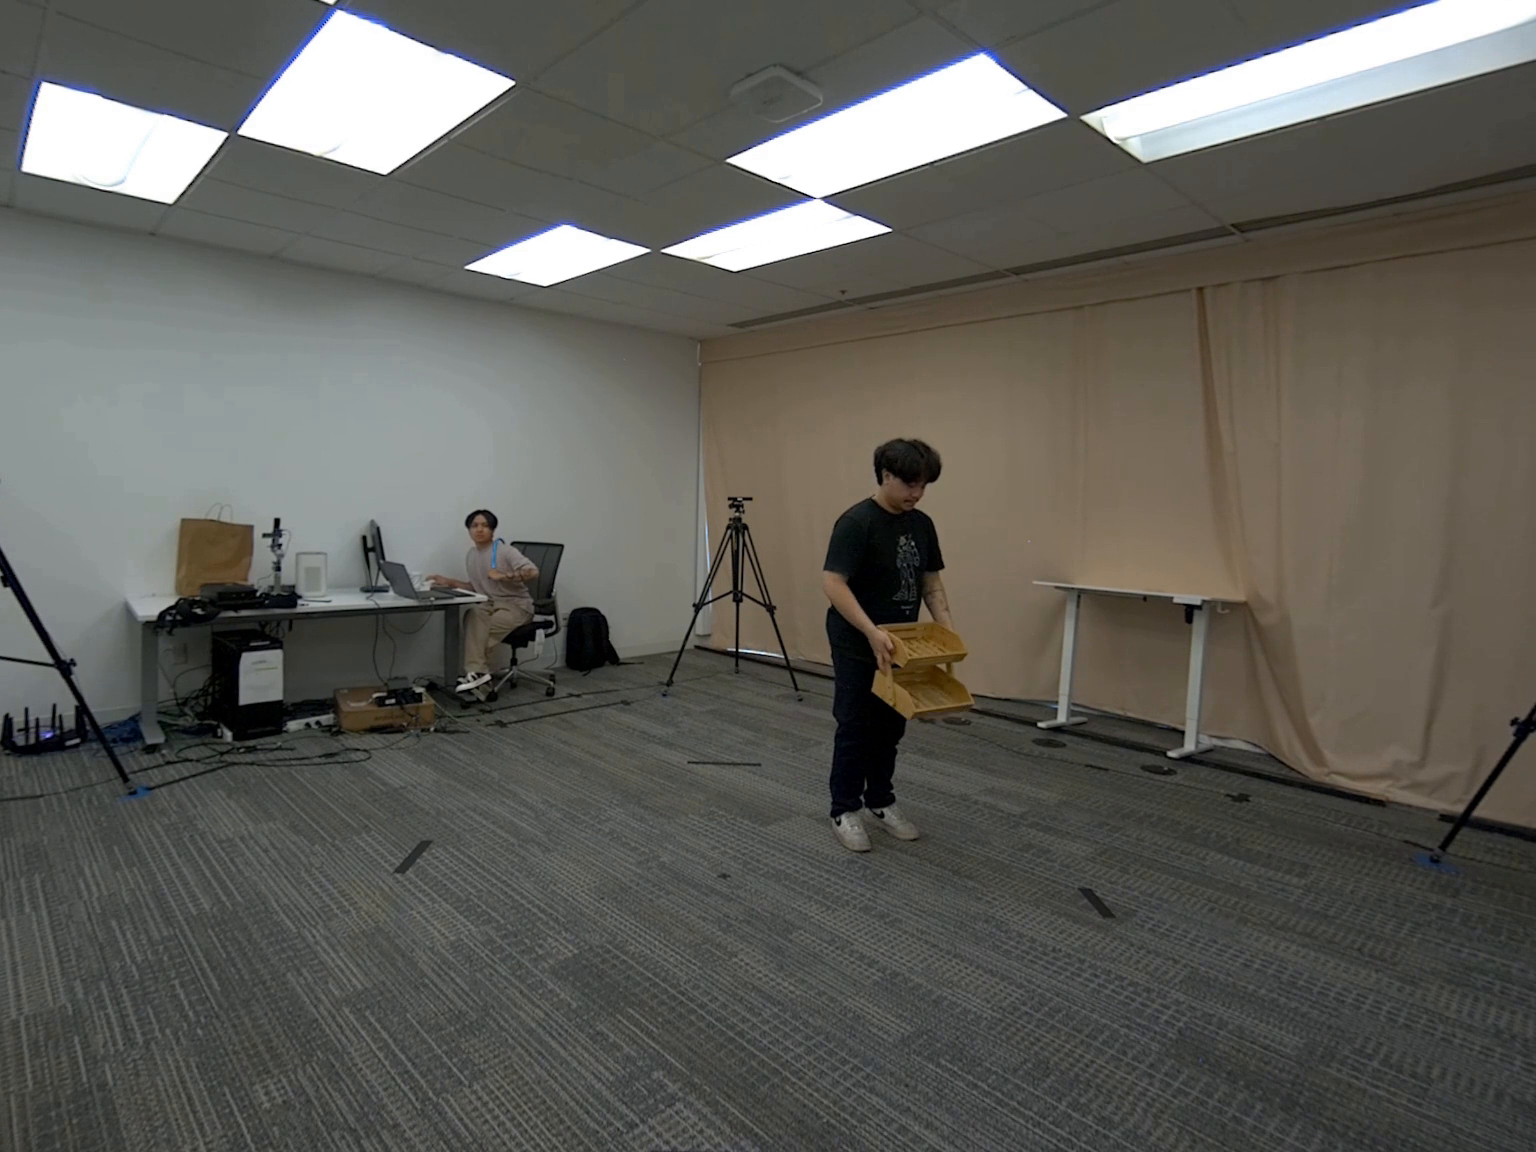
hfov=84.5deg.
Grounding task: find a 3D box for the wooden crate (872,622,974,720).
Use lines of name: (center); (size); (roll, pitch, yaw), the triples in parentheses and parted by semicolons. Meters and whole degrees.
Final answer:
wooden crate: (0.603, 0.354, 3.246); (0.318, 0.270, 0.311); (-1, 20, -29)
